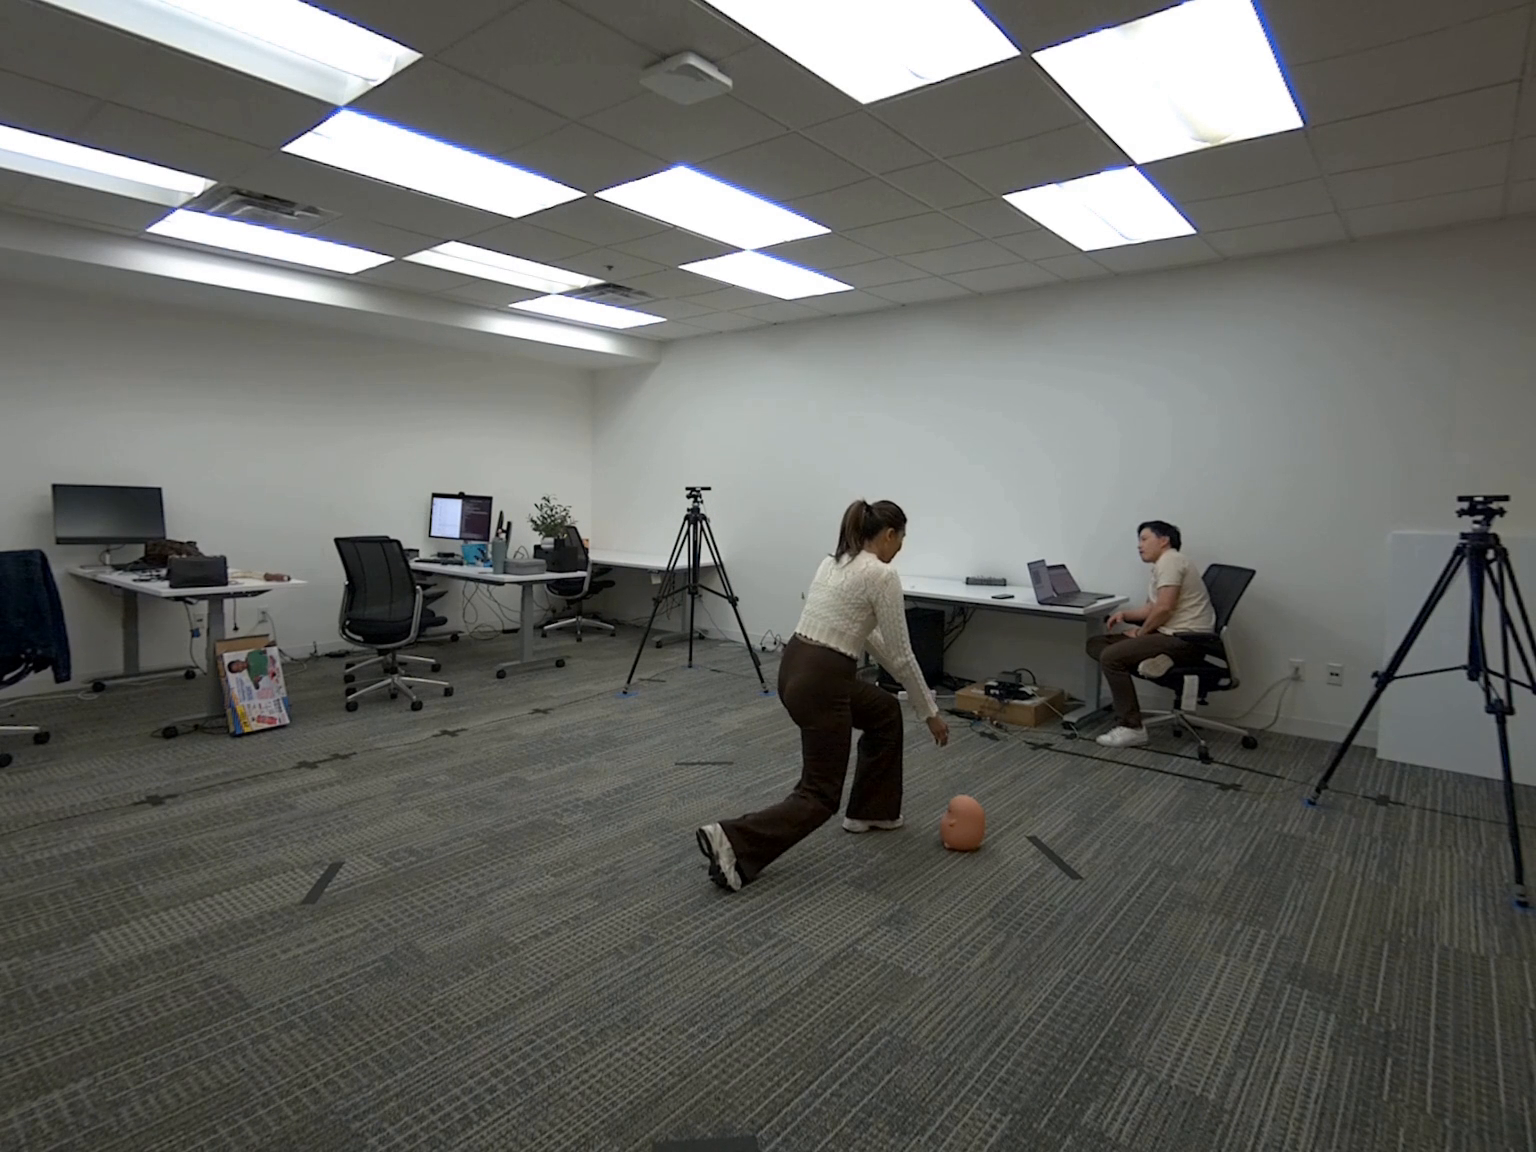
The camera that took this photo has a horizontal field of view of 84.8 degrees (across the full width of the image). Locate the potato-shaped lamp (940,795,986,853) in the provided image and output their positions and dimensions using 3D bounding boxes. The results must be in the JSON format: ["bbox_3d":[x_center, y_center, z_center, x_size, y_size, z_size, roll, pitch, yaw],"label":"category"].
[{"bbox_3d":[0.759,0.961,3.348,0.173,0.197,0.164,5,5,8],"label":"potato-shaped lamp"}]
